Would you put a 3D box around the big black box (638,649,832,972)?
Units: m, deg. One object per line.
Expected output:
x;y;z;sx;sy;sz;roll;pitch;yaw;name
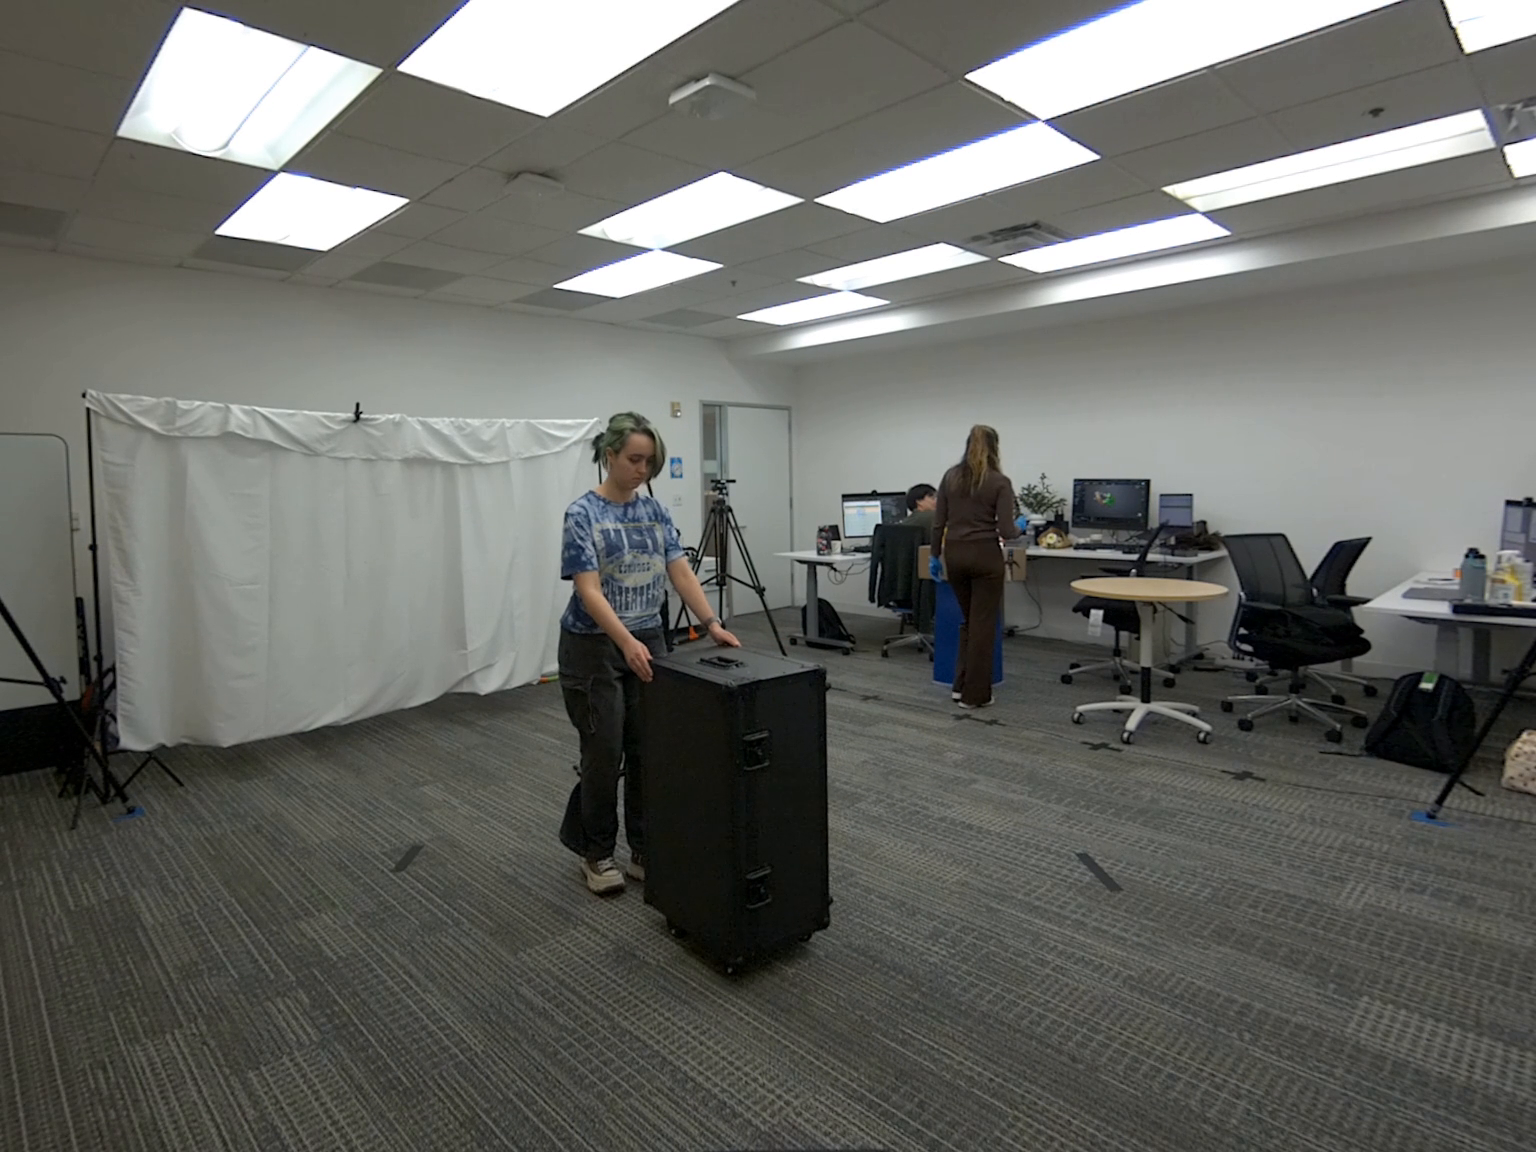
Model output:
-0.099;0.683;2.599;0.386;0.859;0.537;-4;5;-38;big black box
